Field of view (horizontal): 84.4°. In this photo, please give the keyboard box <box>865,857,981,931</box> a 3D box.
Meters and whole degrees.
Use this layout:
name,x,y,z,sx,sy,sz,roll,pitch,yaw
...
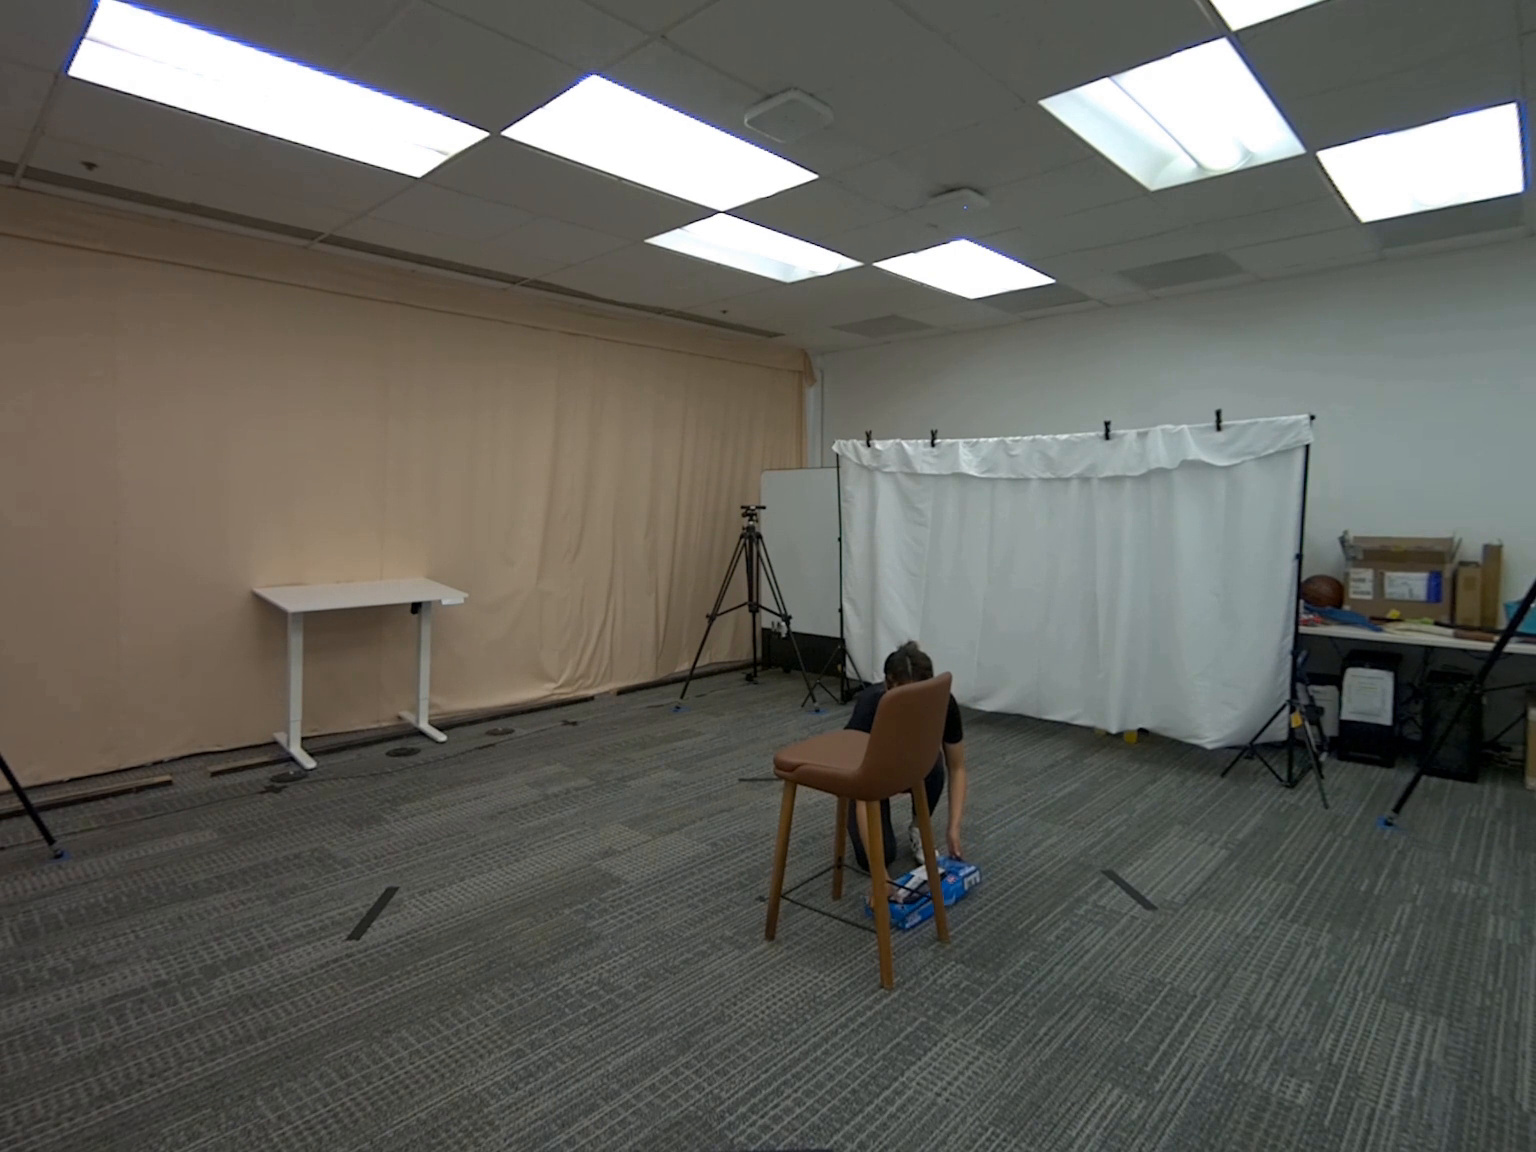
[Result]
name,x,y,z,sx,sy,sz,roll,pitch,yaw
keyboard box,0.553,1.095,2.947,0.425,0.059,0.181,-11,8,-41
